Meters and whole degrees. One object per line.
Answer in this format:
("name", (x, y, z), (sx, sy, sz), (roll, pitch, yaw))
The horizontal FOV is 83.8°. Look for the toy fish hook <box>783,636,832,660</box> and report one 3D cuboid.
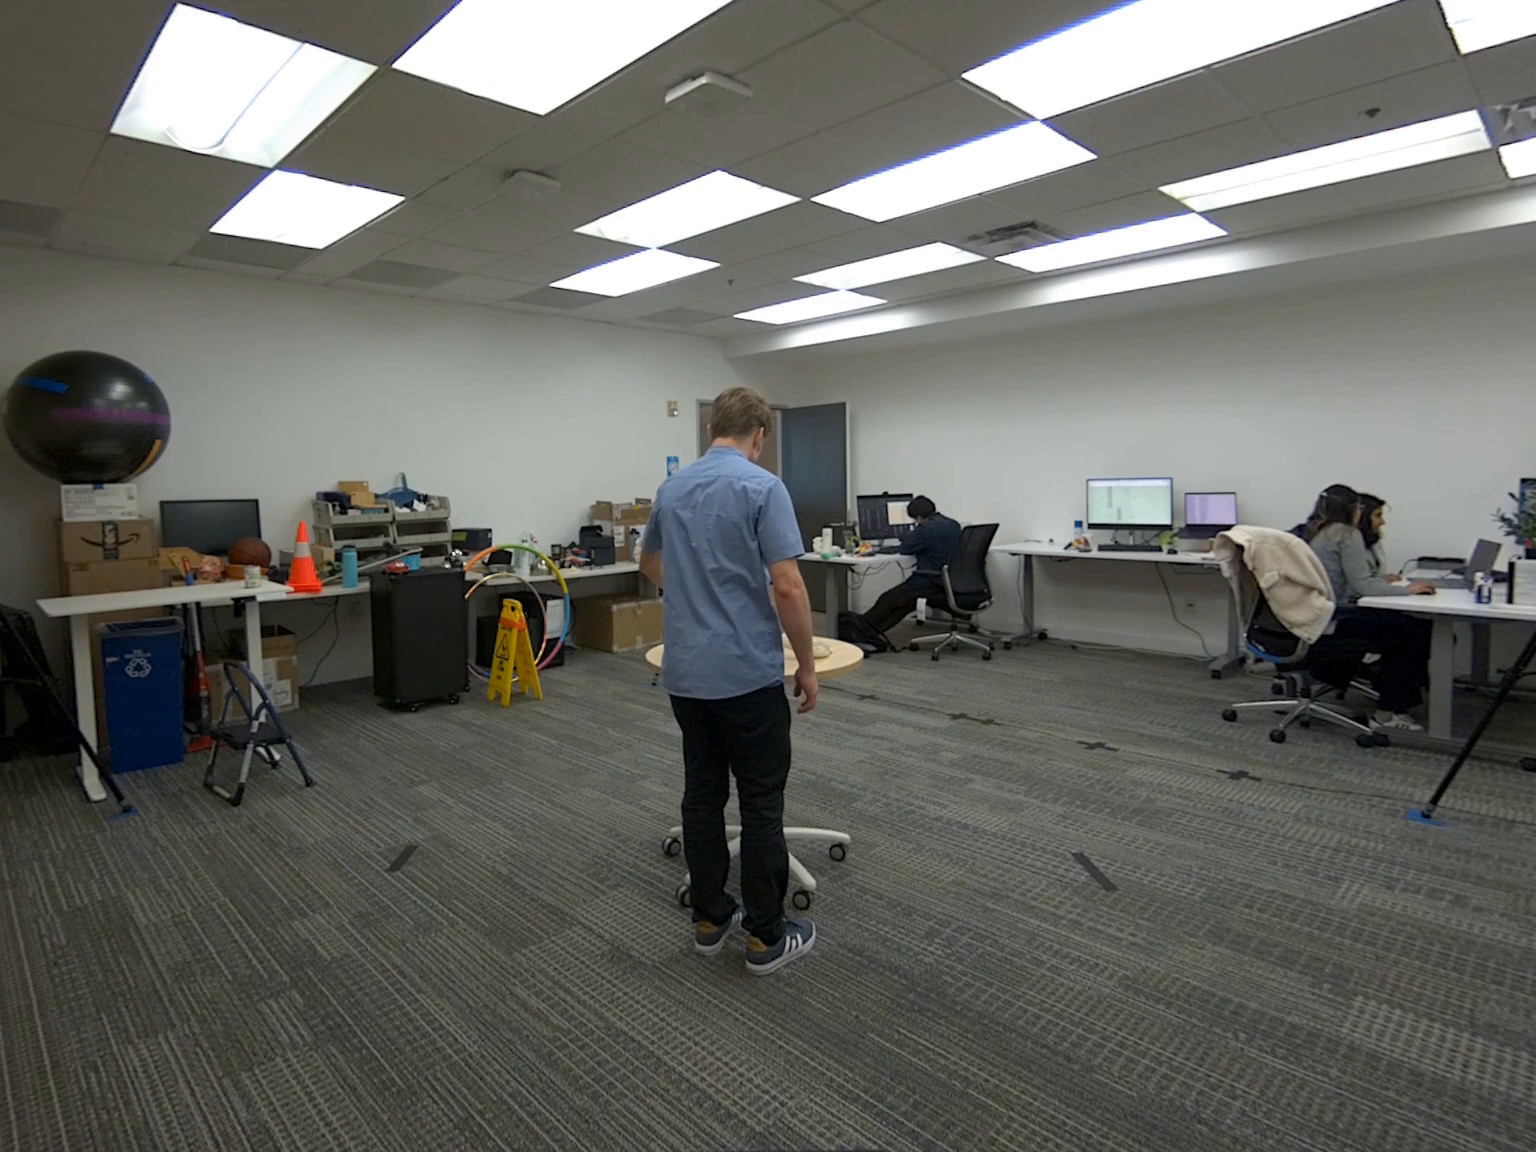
("toy fish hook", (-0.003, 0.187, 3.022), (0.517, 0.048, 0.221), (17, 6, 17))
